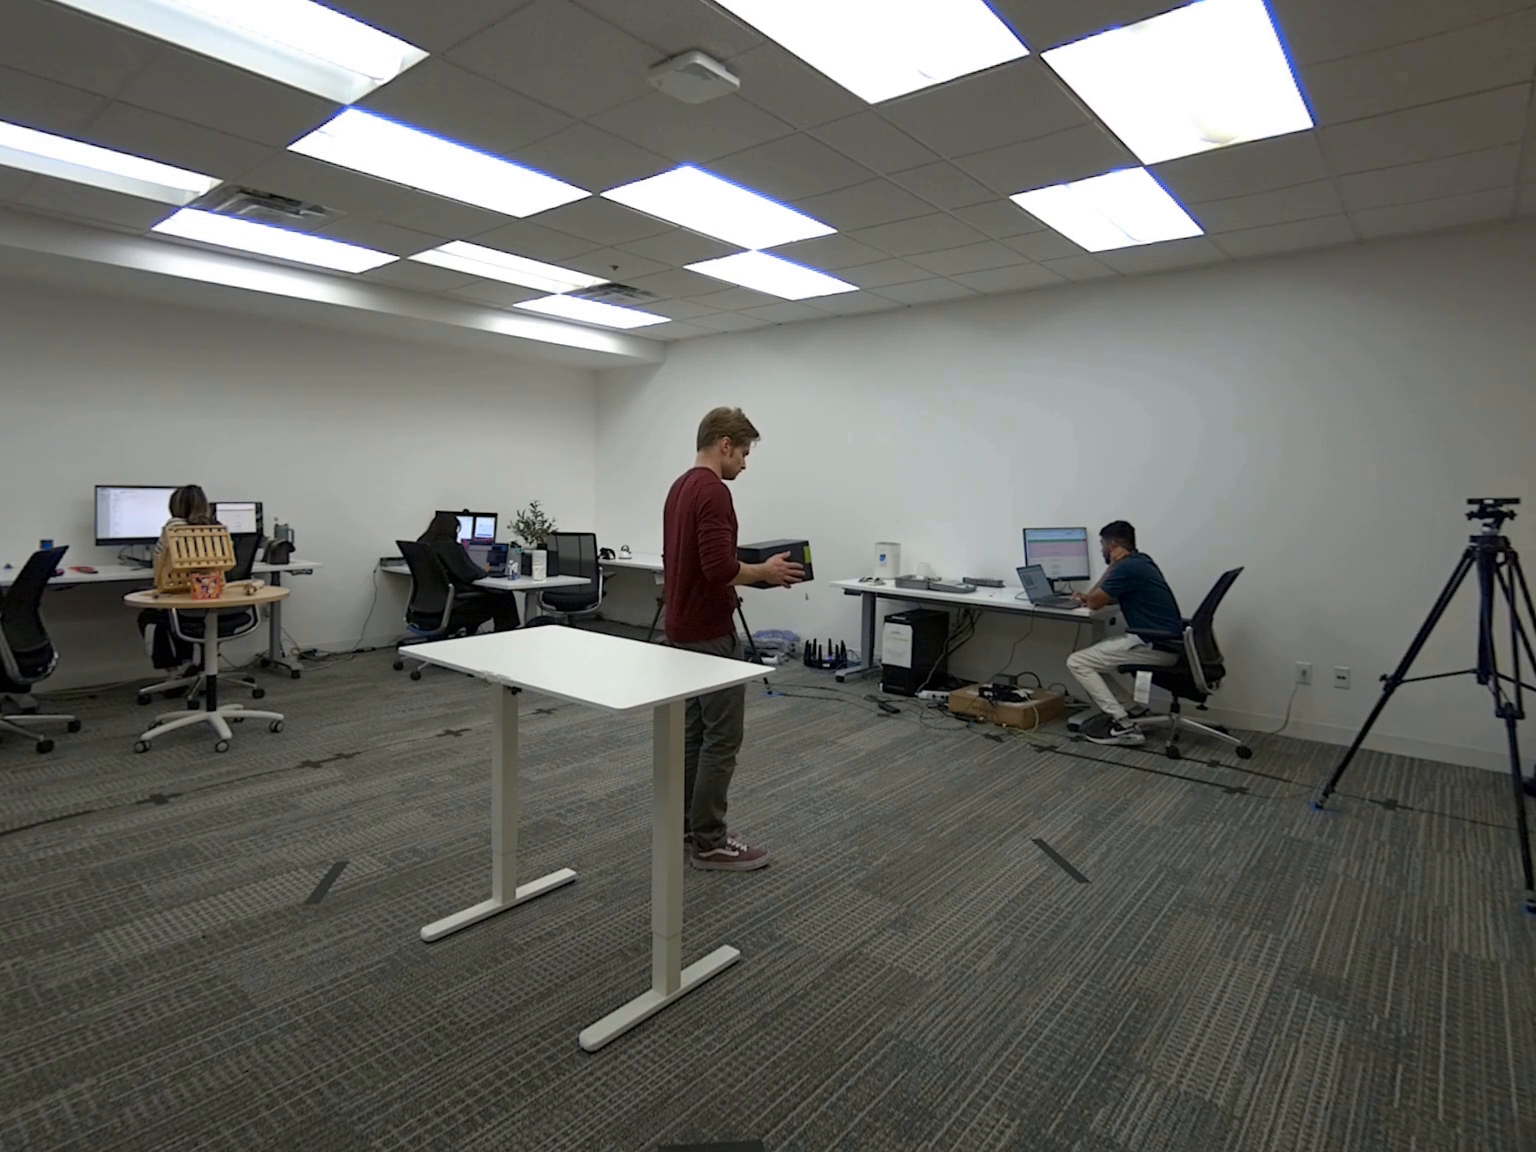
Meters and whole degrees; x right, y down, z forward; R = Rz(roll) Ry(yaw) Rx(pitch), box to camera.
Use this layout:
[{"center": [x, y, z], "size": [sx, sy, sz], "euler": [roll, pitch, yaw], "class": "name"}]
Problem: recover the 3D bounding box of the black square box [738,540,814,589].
[{"center": [0.026, -0.052, 3.300], "size": [0.213, 0.155, 0.233], "euler": [-10, 7, -20], "class": "black square box"}]
